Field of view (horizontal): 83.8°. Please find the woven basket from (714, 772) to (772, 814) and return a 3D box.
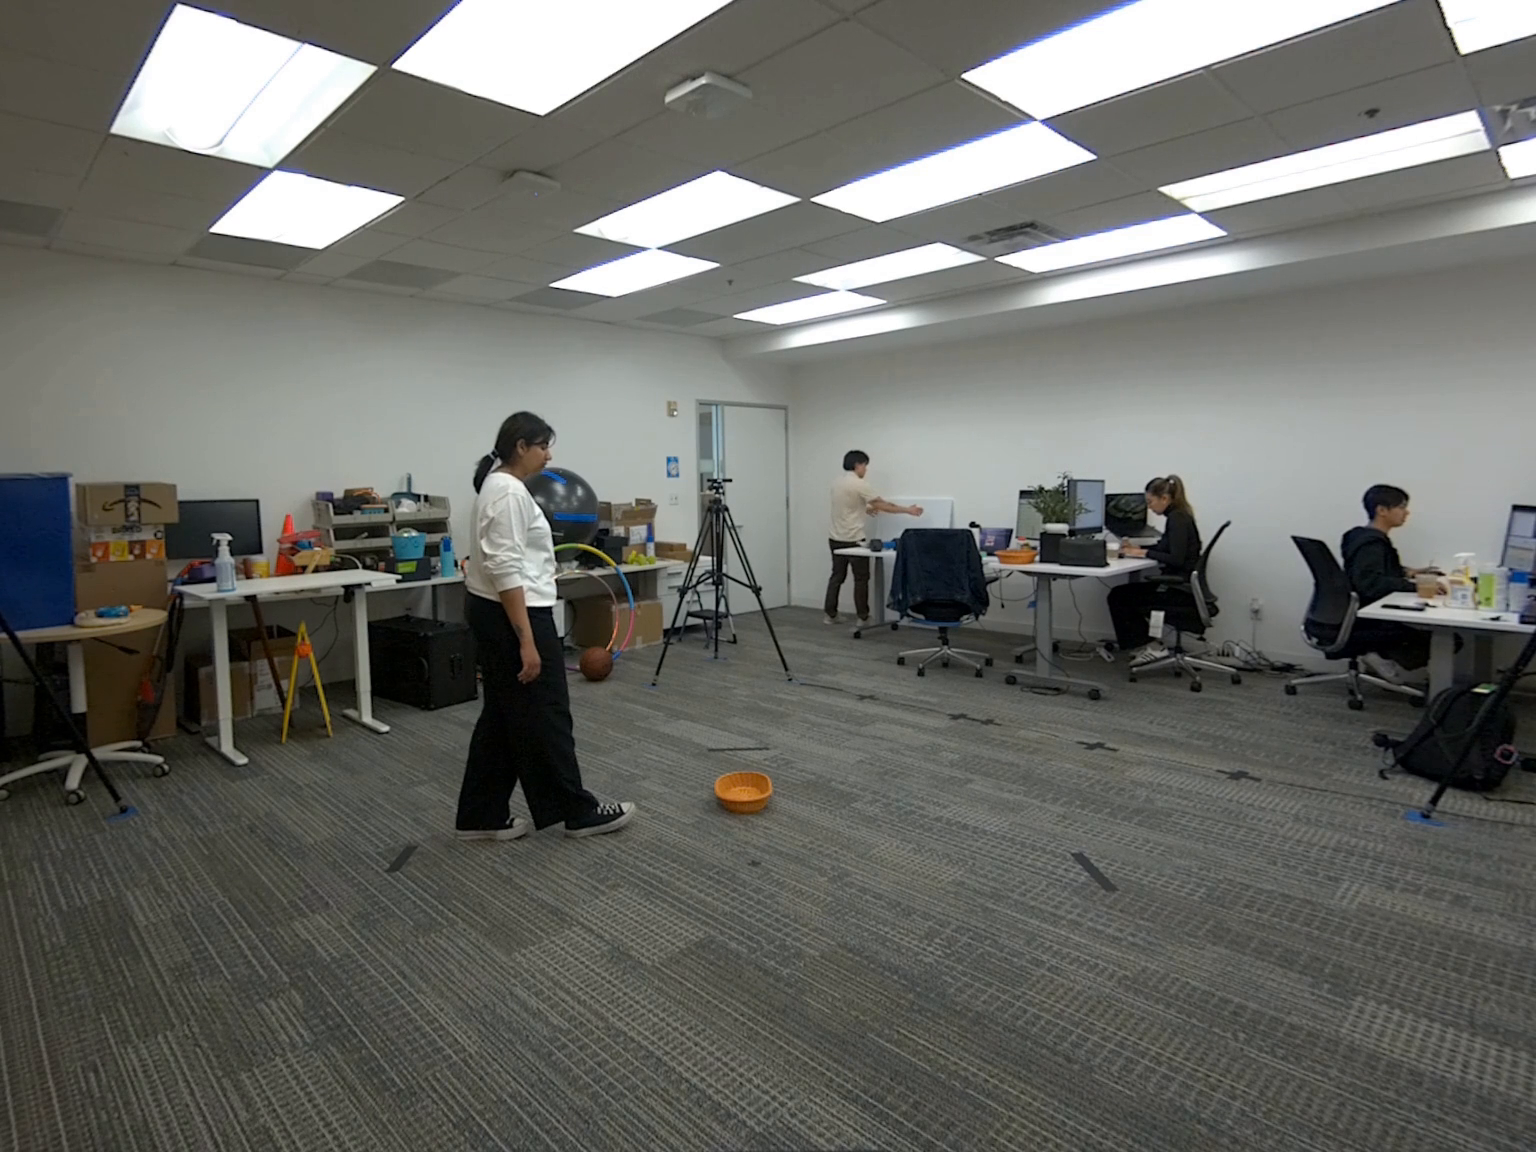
[{"bbox_3d":[-0.105,0.939,3.712,0.253,0.073,0.352,-3,7,0],"label":"woven basket"}]
